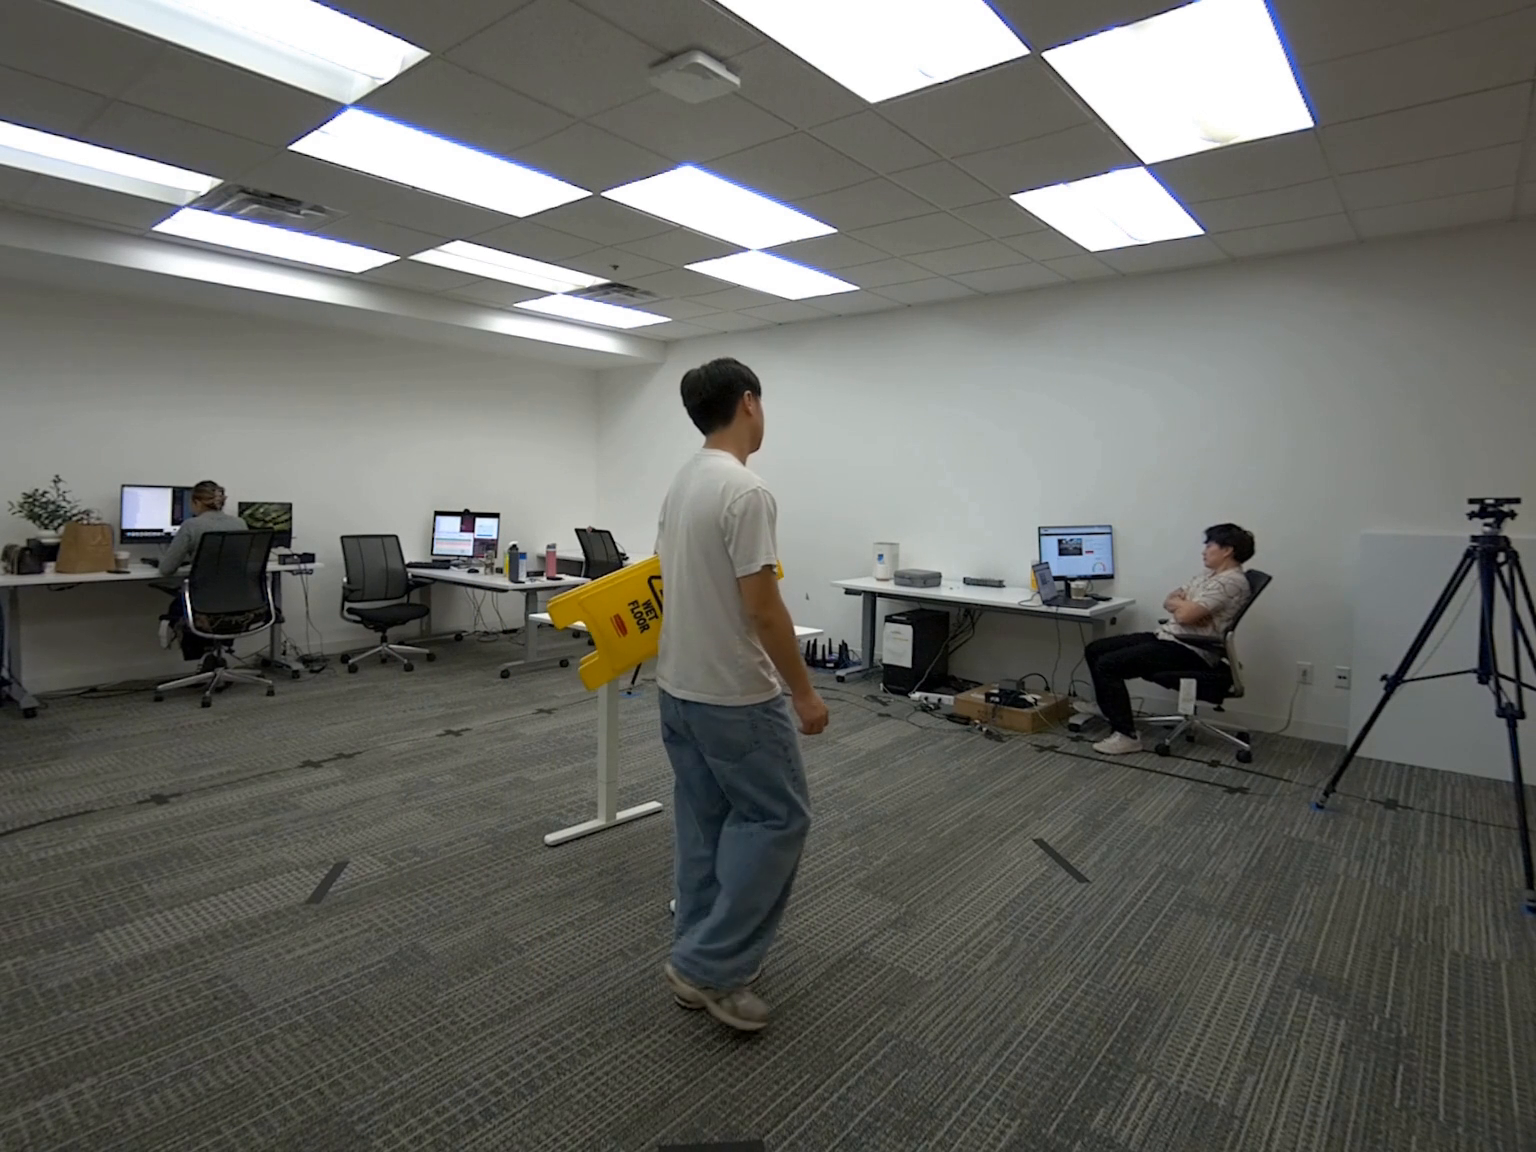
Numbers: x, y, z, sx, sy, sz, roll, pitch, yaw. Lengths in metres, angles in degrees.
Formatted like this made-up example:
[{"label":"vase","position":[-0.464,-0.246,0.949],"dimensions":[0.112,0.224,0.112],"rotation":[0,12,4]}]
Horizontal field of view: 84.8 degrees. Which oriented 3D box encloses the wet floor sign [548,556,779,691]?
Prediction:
[{"label":"wet floor sign","position":[-0.287,0.060,2.467],"dimensions":[0.644,0.278,0.295],"rotation":[-25,12,-5]}]
